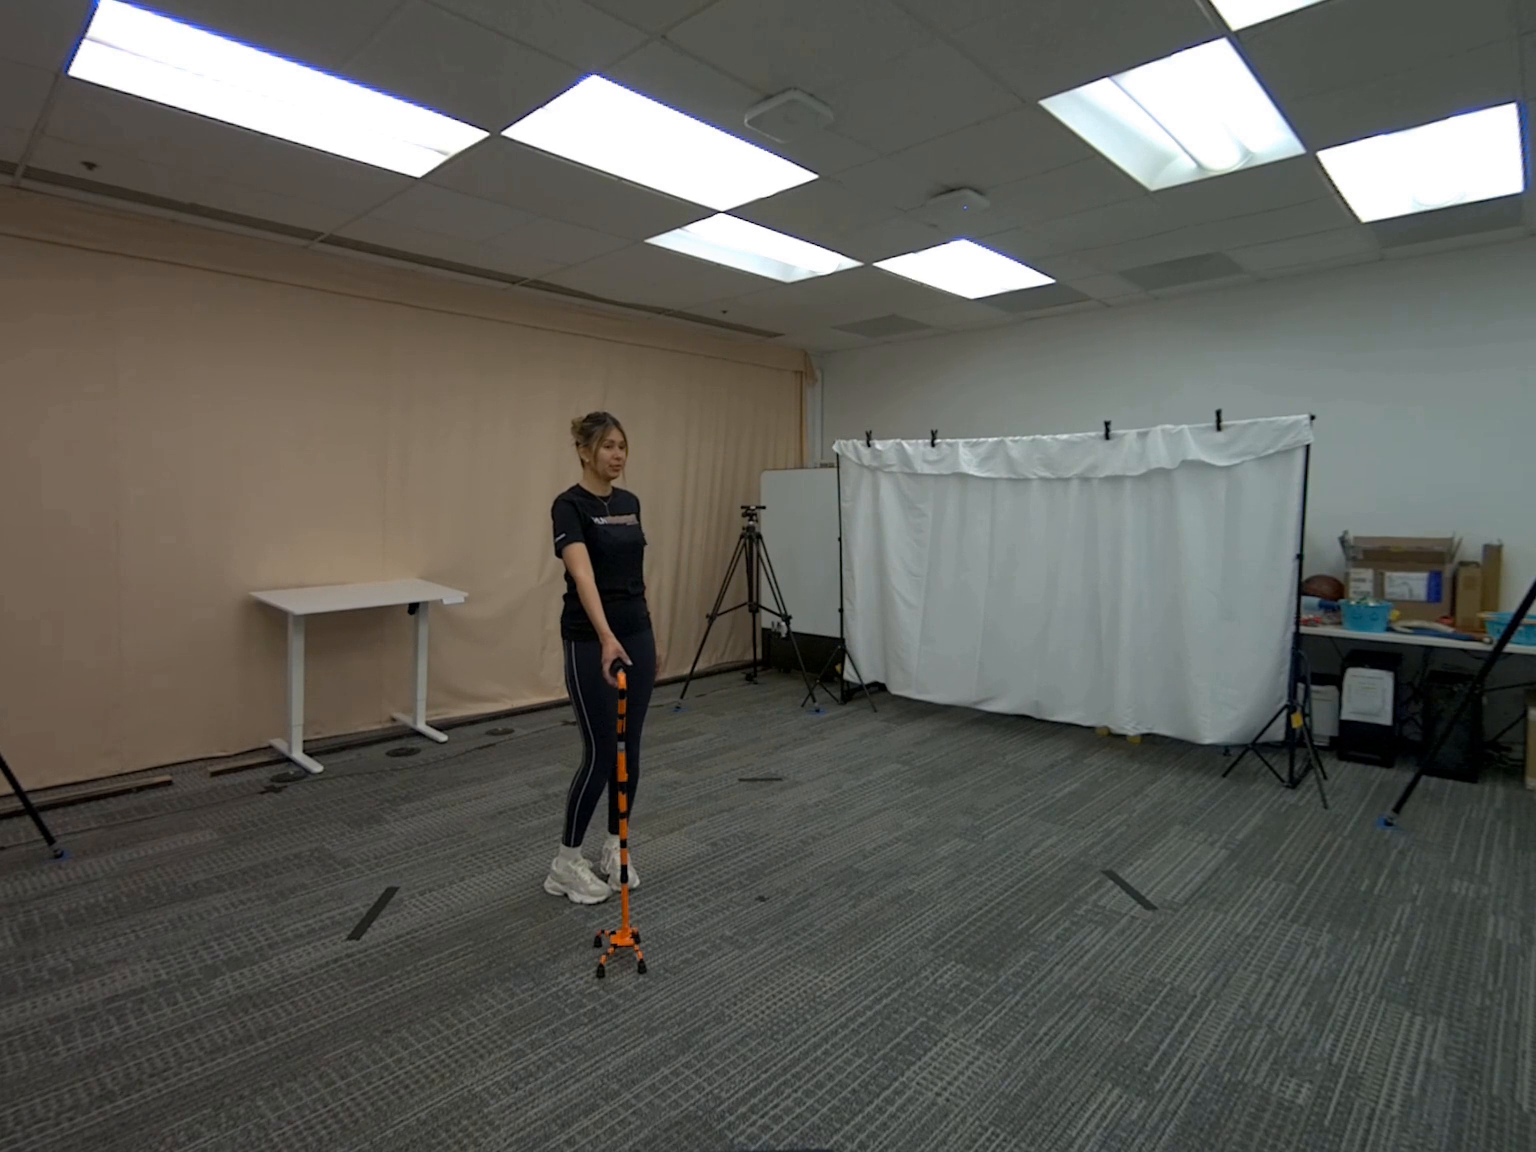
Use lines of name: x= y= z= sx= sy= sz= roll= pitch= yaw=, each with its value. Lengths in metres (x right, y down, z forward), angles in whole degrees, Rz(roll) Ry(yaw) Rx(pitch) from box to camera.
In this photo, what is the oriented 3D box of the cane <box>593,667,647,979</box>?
cane: x=-0.458 y=0.724 z=2.571 sx=0.149 sy=0.906 sz=0.210 roll=-1 pitch=2 yaw=-15
